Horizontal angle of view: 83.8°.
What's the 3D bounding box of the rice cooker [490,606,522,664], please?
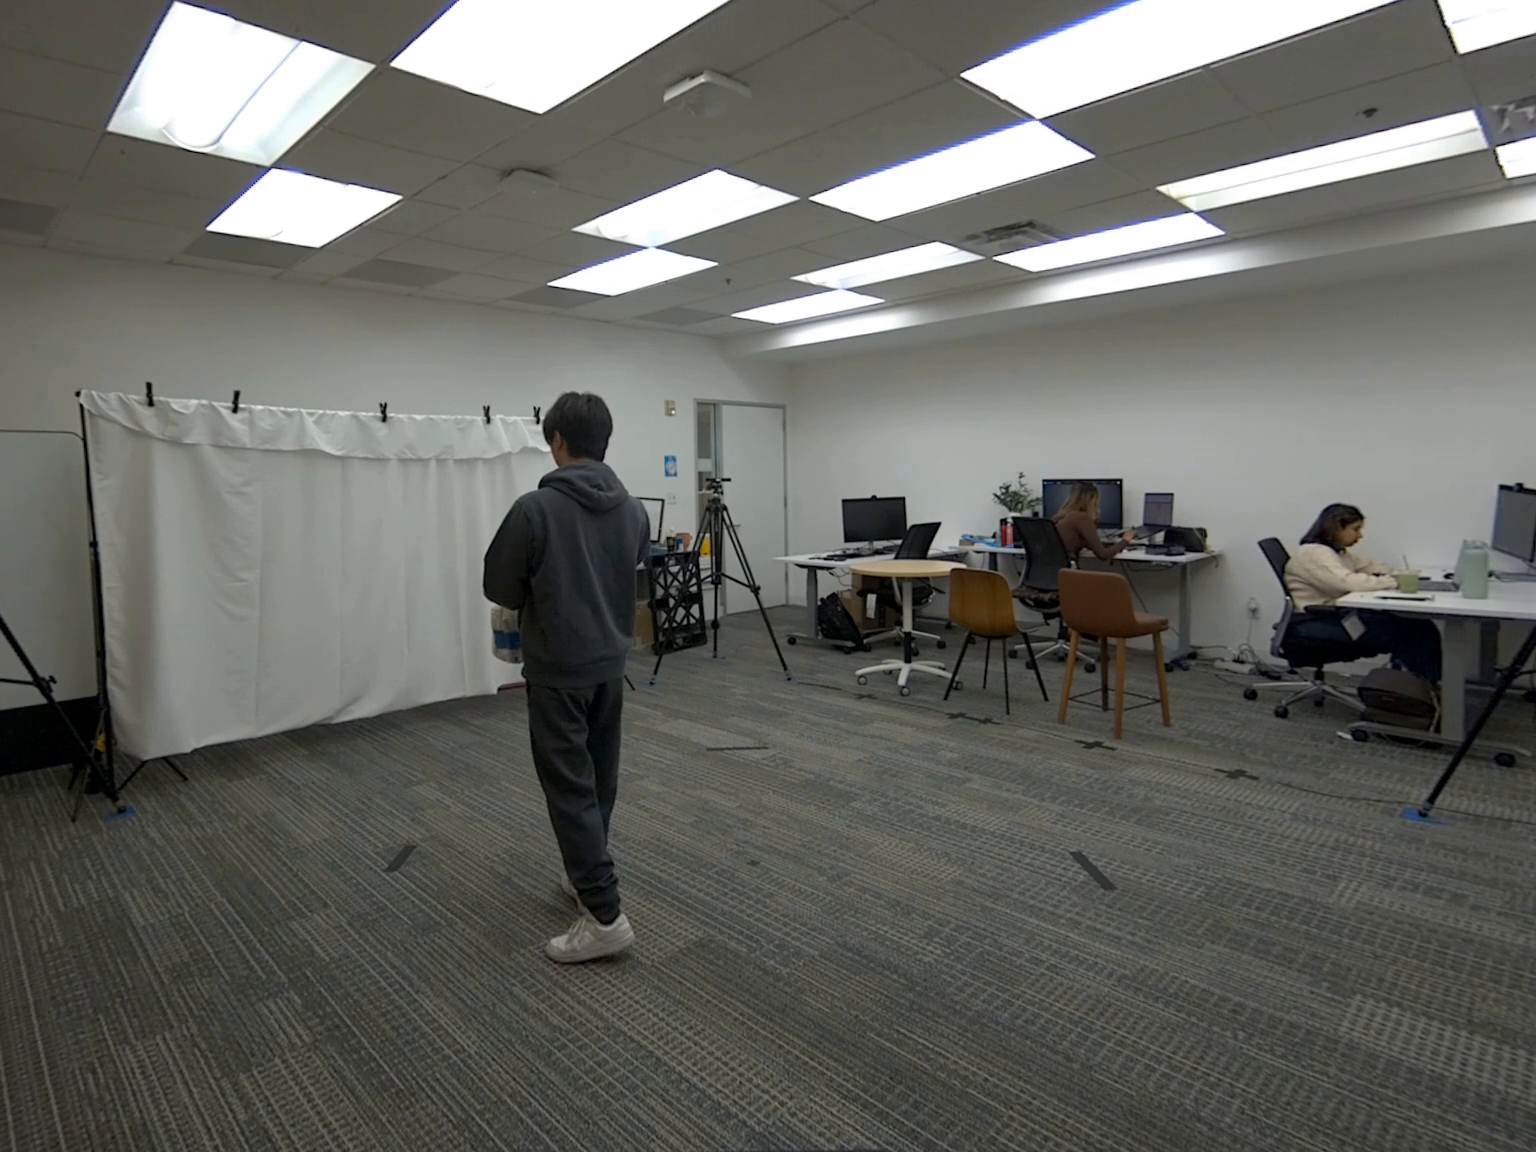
[{"bbox_3d":[-0.844,0.169,2.925,0.214,0.232,0.224,0,6,-38],"label":"rice cooker"}]
